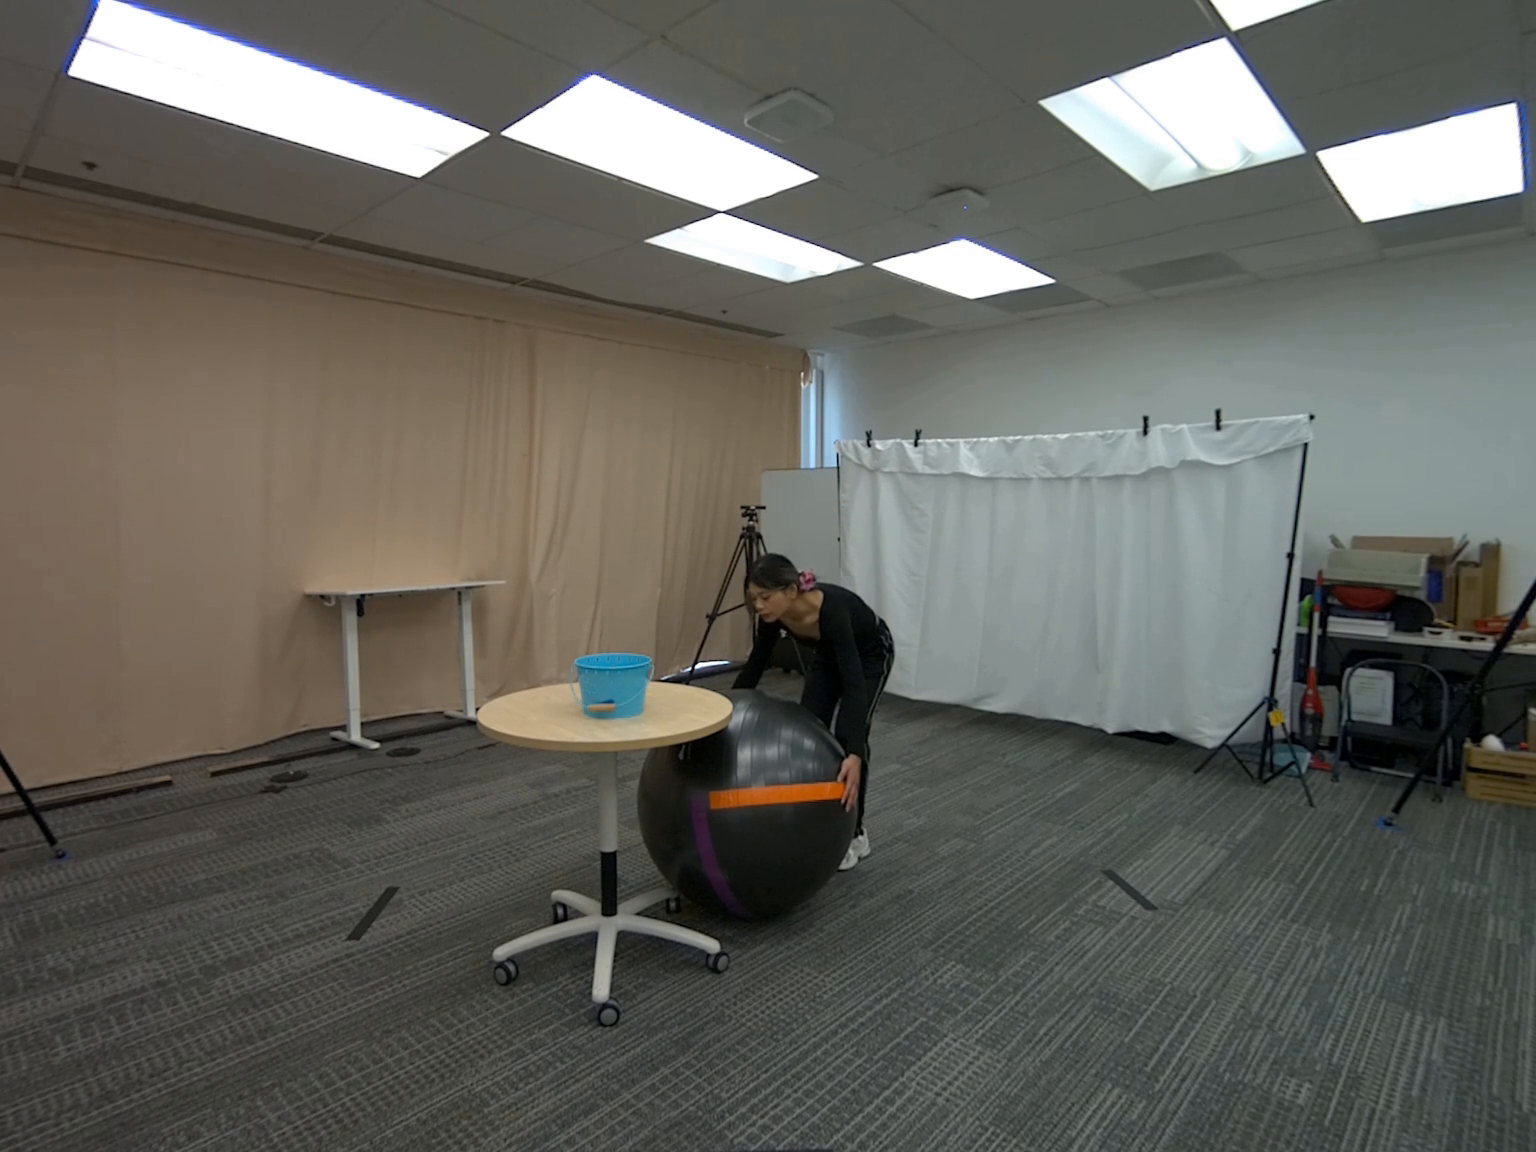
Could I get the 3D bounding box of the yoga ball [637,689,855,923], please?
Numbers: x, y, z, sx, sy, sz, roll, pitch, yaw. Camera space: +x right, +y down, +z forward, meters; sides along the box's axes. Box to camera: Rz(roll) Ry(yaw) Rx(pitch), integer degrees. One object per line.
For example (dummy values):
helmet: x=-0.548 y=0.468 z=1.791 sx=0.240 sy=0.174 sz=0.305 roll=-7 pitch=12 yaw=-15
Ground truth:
yoga ball: x=-0.078 y=0.791 z=2.927 sx=0.757 sy=0.756 sz=0.760 roll=0 pitch=4 yaw=-2
